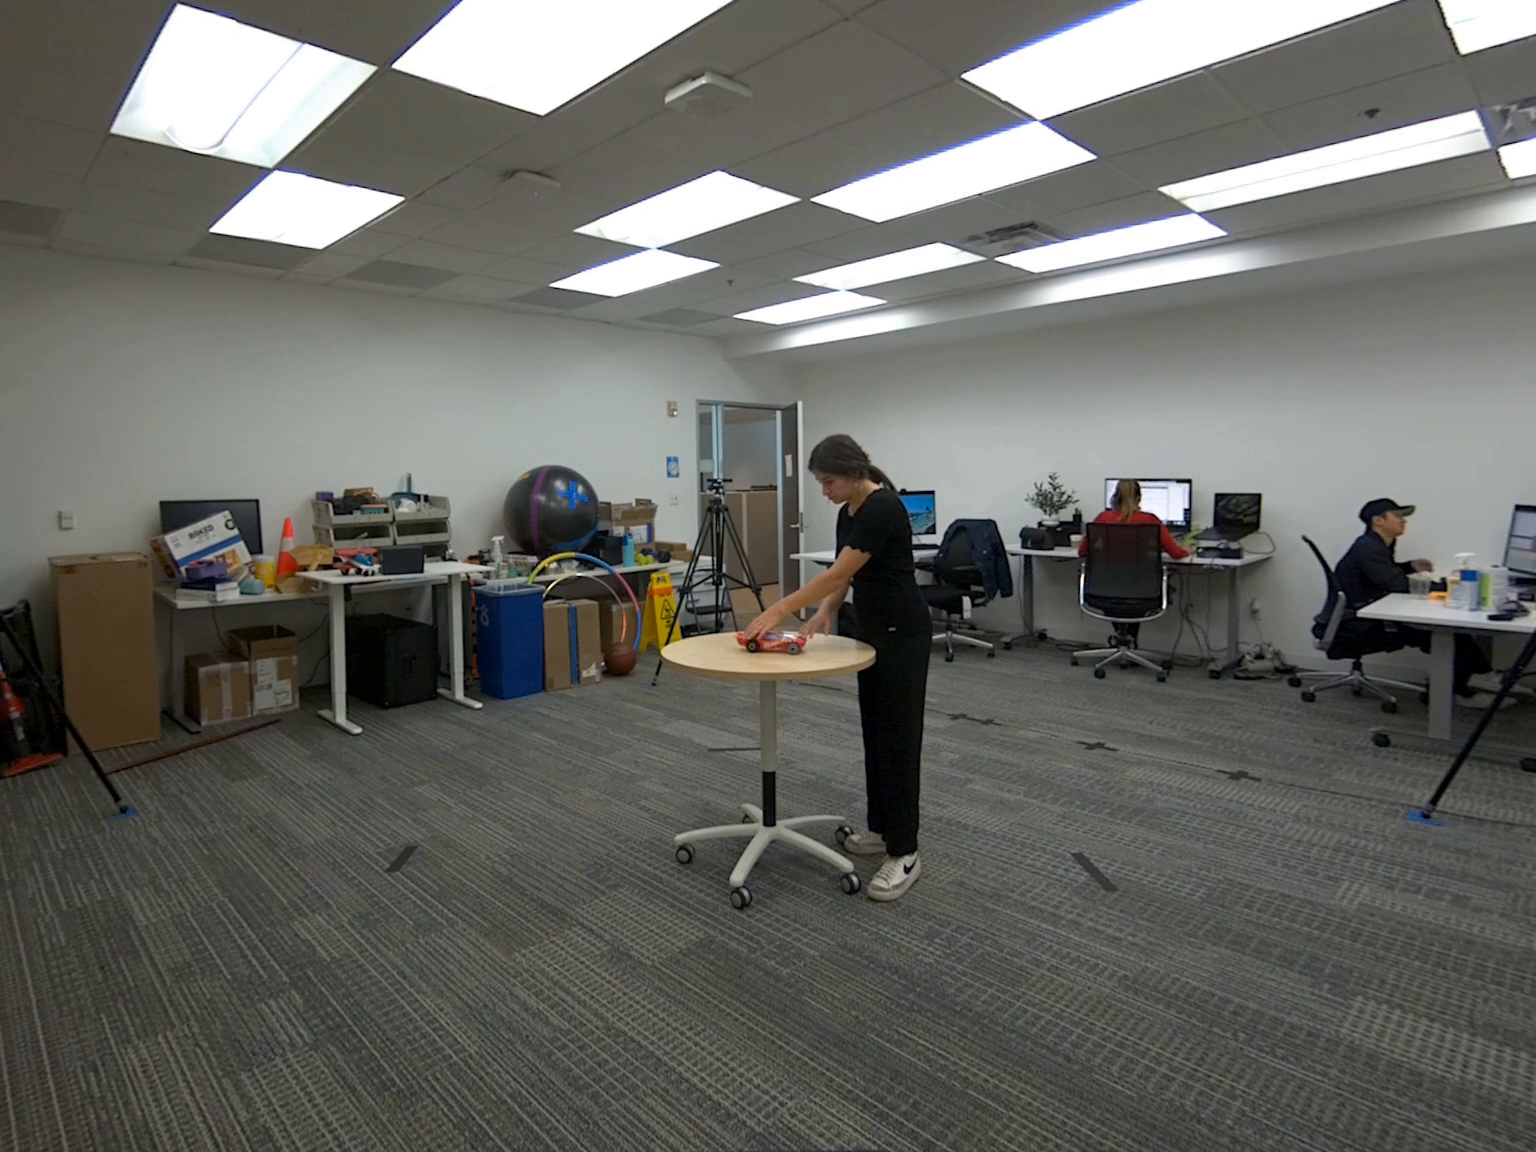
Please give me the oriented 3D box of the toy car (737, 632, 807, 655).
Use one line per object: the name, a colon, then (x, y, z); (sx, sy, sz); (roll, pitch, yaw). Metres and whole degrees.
toy car: (0.004, 0.232, 3.047); (0.258, 0.083, 0.129); (13, 7, 11)
